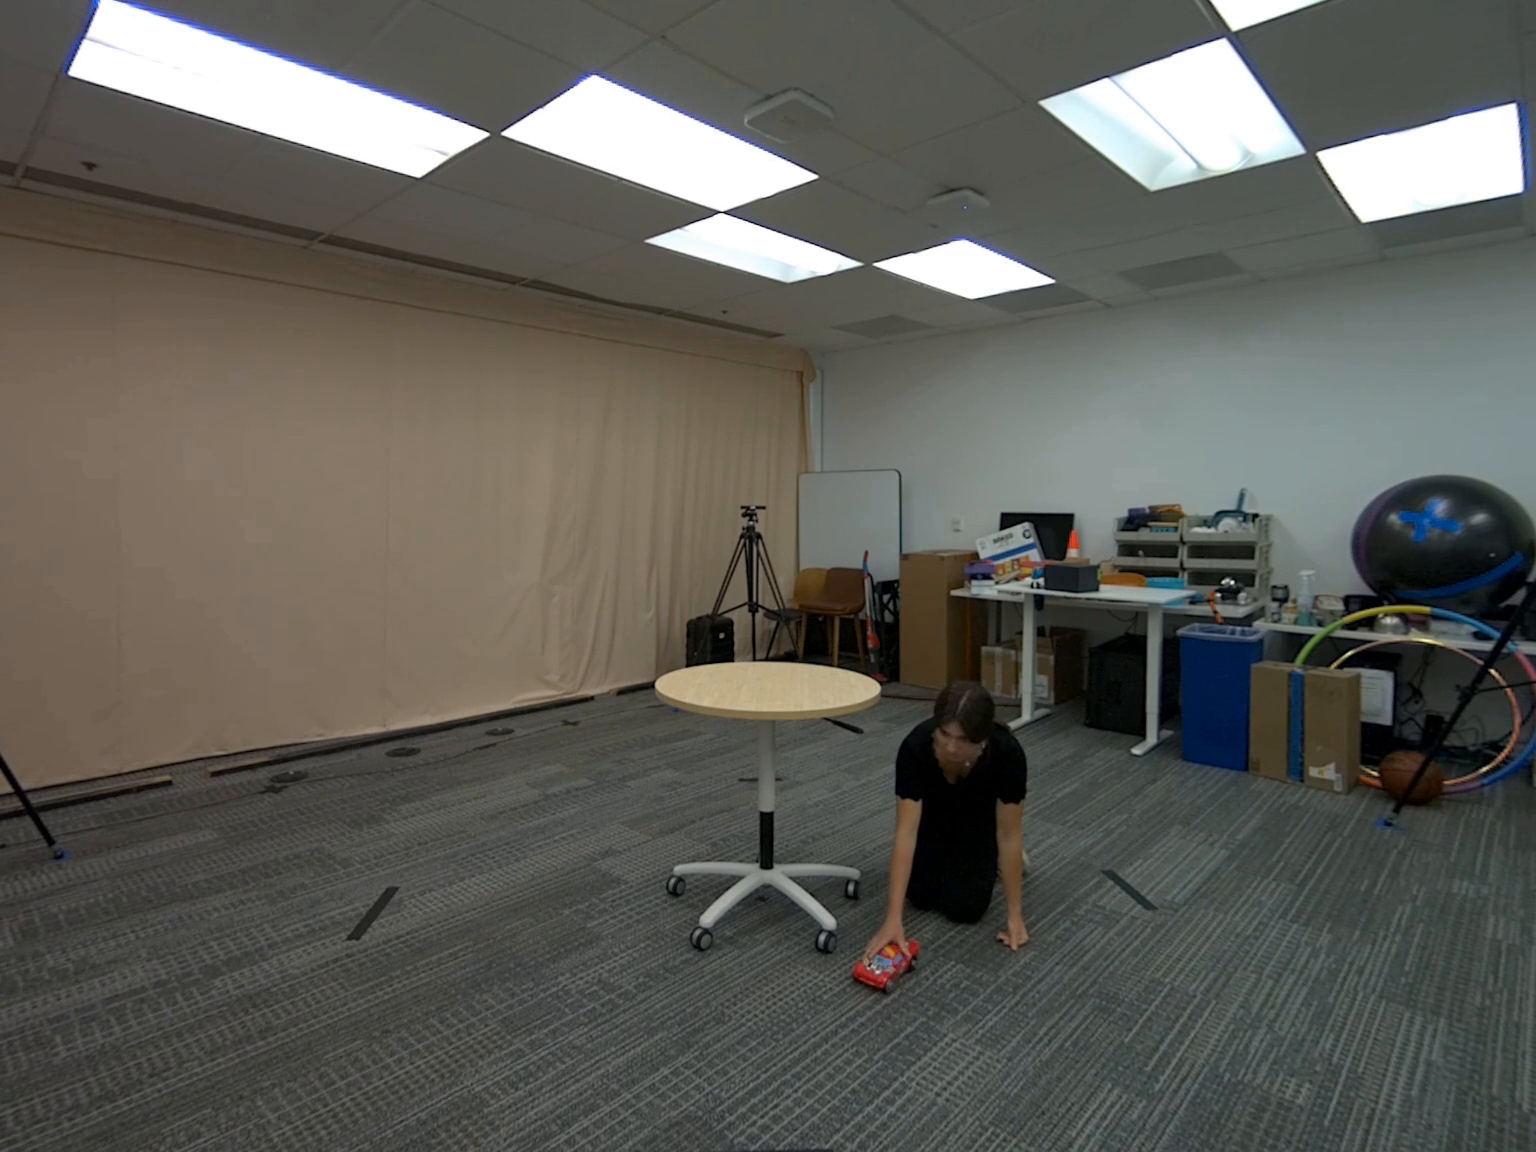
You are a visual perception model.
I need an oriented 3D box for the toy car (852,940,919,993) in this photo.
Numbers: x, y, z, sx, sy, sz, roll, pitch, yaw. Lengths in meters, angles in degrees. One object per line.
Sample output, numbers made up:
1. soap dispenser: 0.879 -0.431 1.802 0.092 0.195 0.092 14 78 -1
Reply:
1. toy car: 0.370 1.154 2.505 0.134 0.082 0.248 2 15 40
